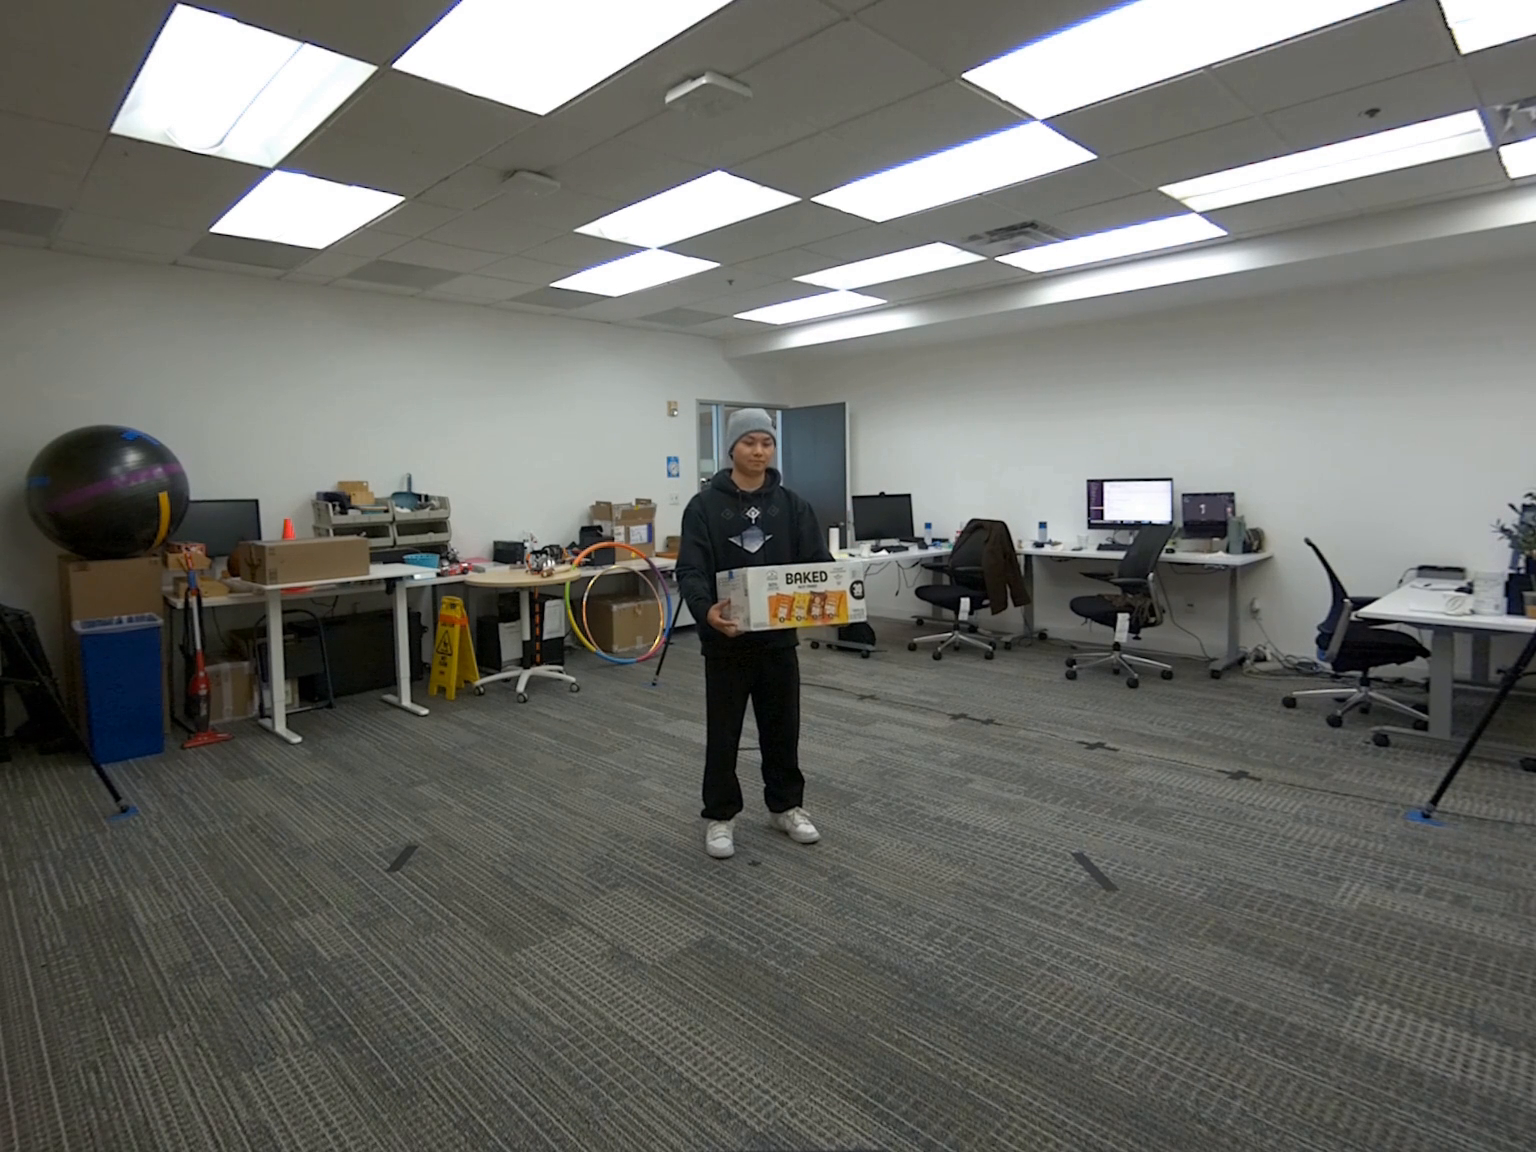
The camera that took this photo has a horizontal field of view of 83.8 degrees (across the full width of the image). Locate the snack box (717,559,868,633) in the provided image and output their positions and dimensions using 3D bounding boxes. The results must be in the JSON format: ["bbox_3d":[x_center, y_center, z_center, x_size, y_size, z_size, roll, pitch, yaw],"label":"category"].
[{"bbox_3d":[0.068,0.073,2.905,0.398,0.206,0.345,-4,-2,-19],"label":"snack box"}]
